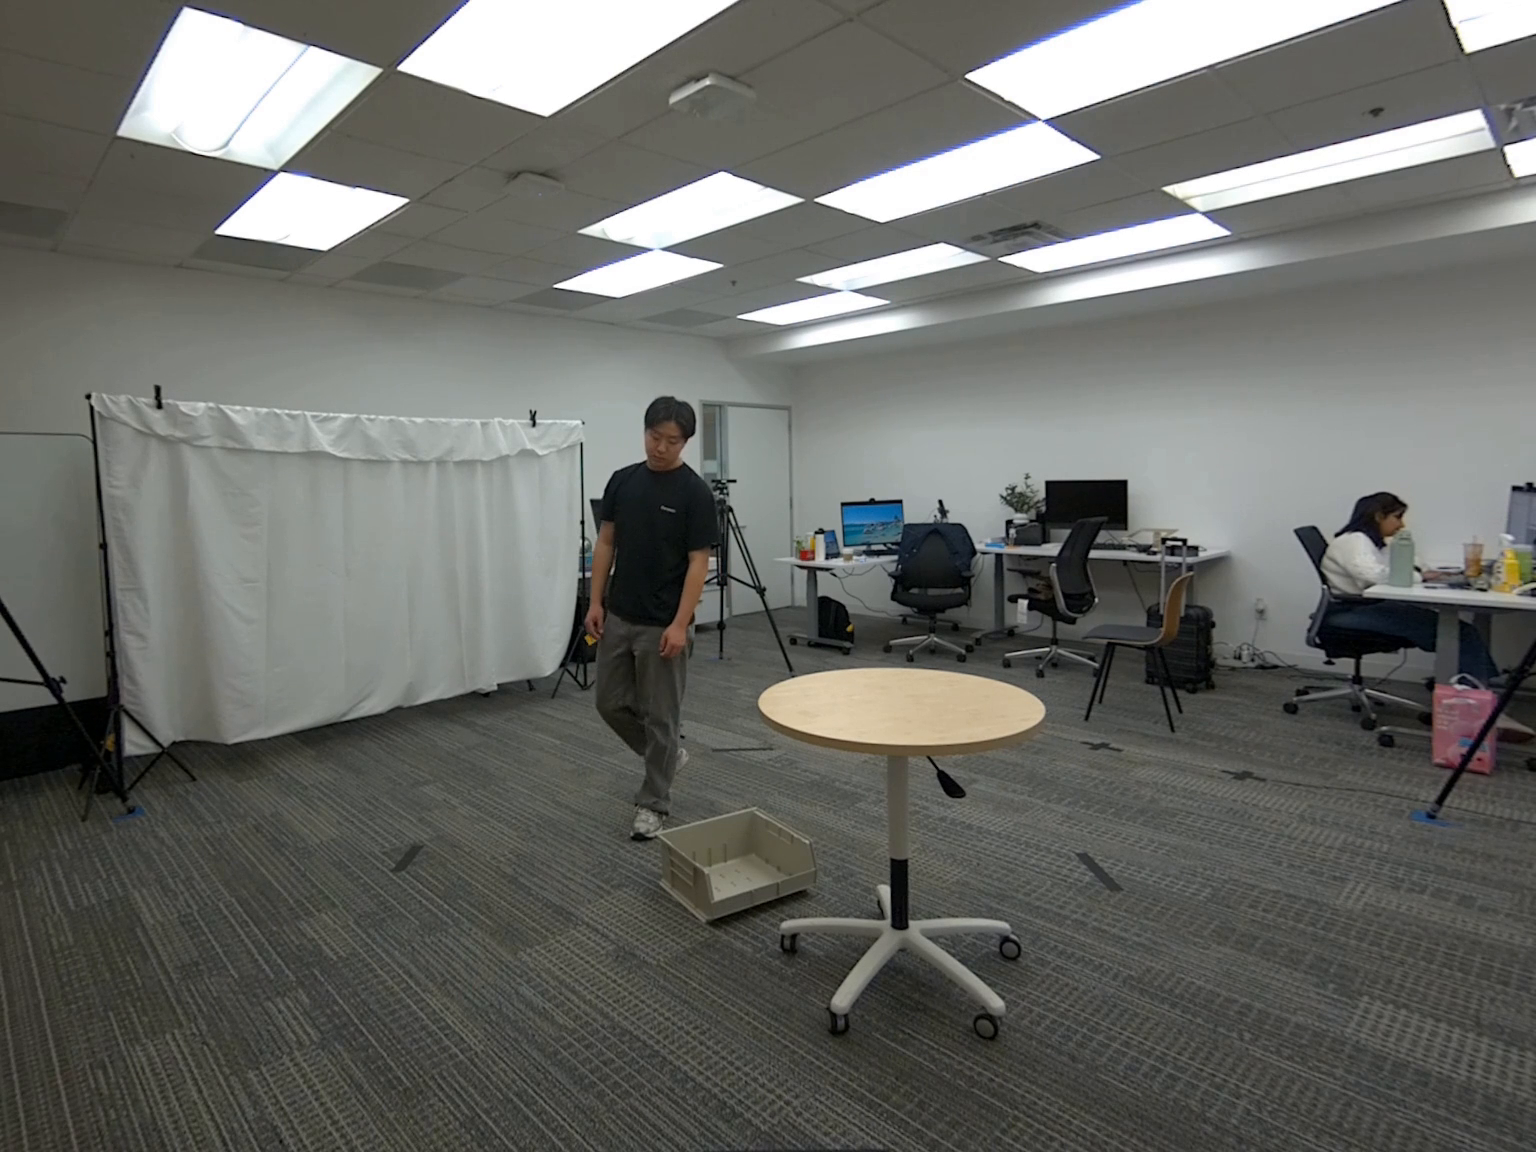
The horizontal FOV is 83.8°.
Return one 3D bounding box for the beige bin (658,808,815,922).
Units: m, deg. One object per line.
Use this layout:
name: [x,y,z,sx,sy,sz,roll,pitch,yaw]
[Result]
beige bin: [-0.106,0.981,2.913,0.412,0.188,0.388,-6,7,-33]
